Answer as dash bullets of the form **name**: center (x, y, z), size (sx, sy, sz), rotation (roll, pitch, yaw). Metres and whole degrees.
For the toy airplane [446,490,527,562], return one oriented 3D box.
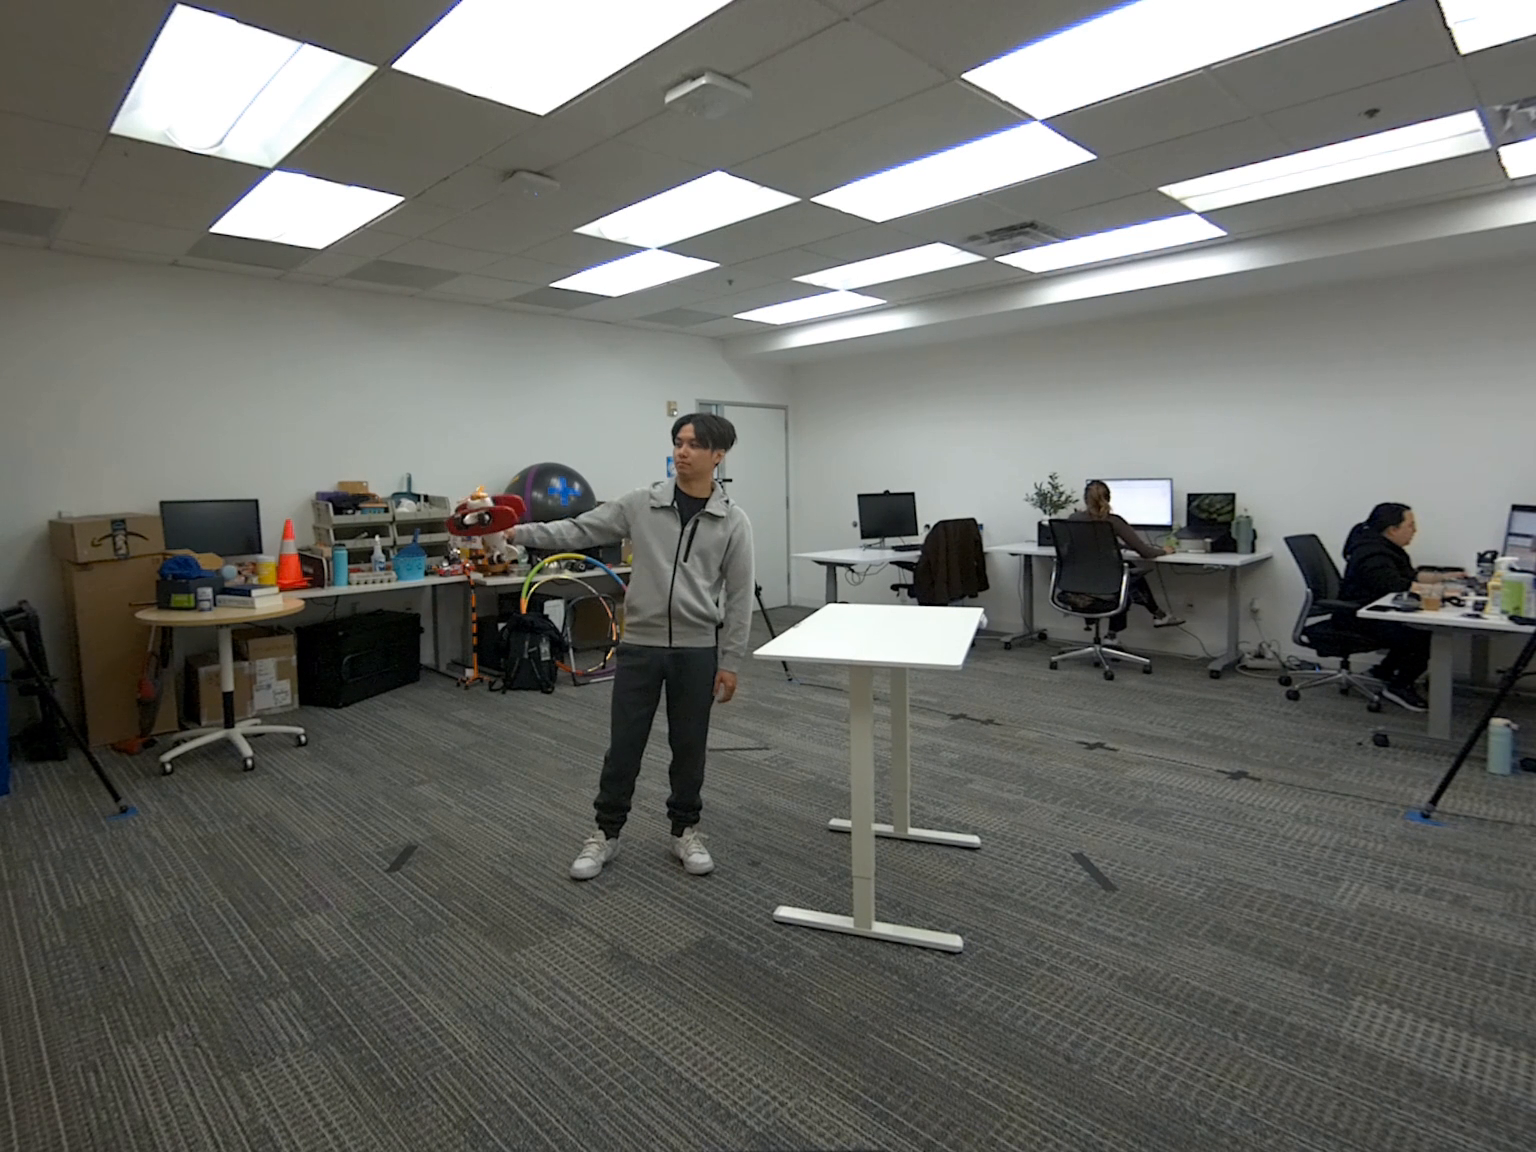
- **toy airplane**: center (-0.944, -0.155, 2.856), size (0.249, 0.255, 0.160), rotation (11, 46, -8)
